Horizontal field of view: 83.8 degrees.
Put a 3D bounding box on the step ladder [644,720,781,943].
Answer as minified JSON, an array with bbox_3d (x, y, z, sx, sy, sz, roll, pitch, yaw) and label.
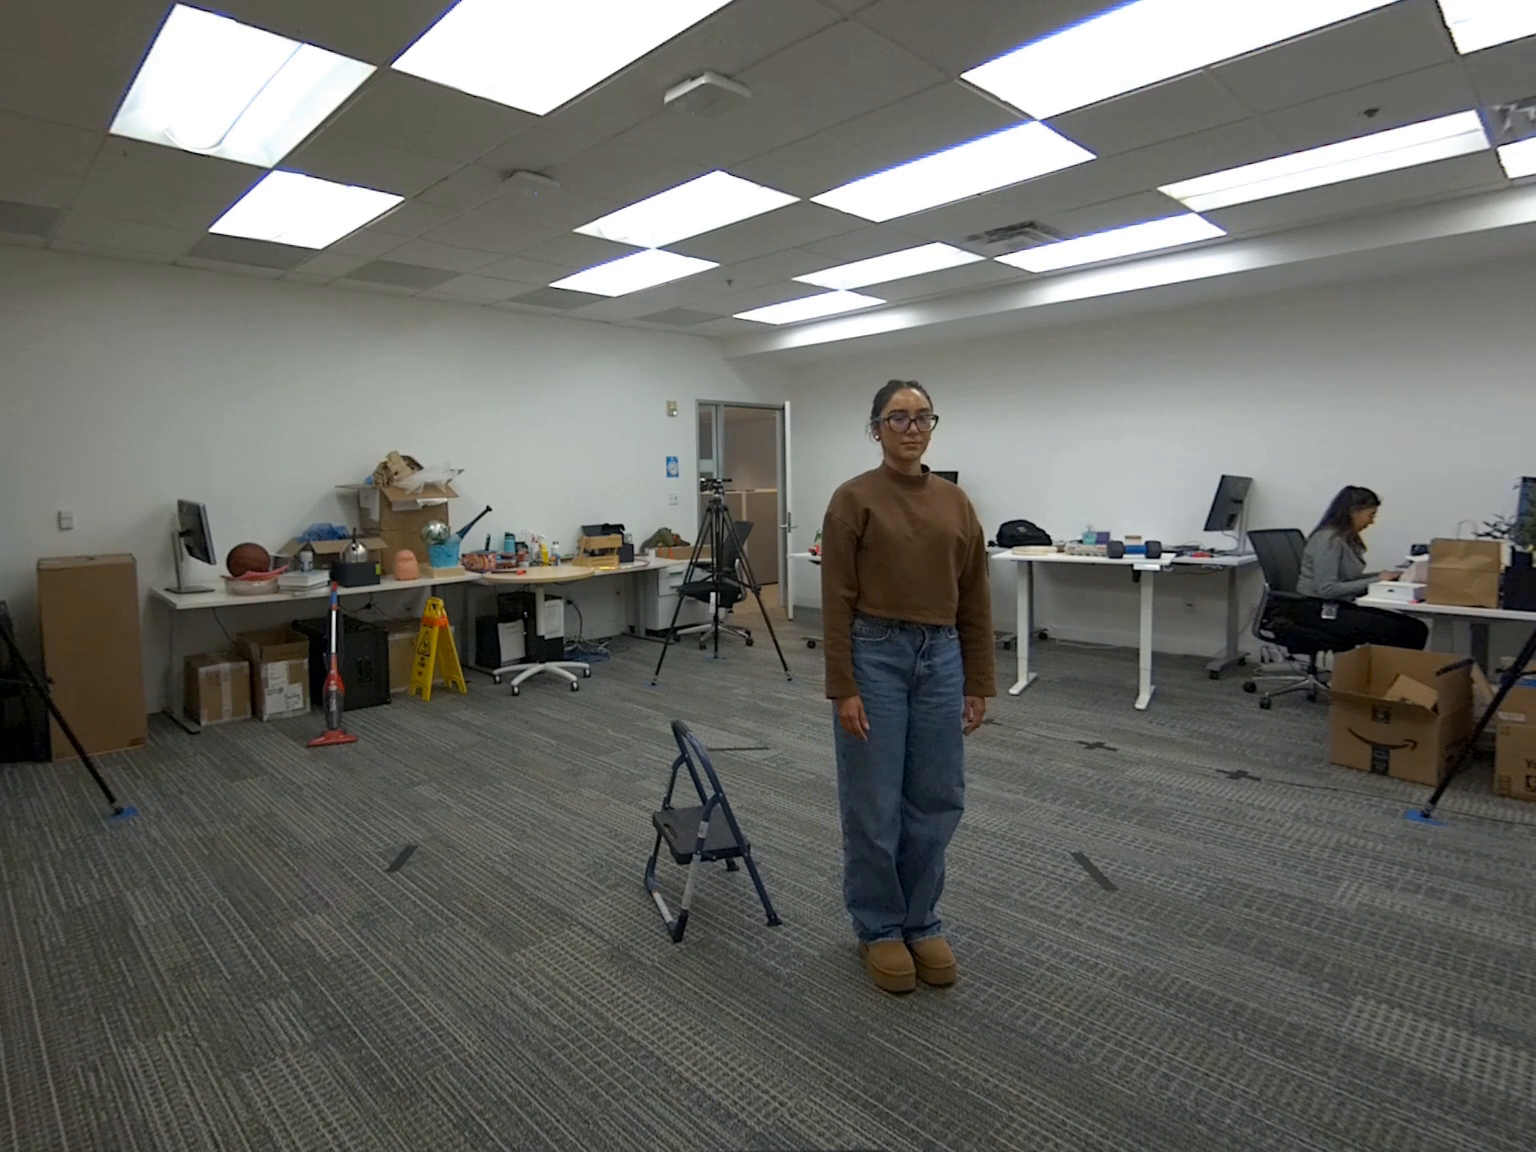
[{"bbox_3d":[-0.196,0.780,2.805,0.343,0.604,0.440,-2,5,-21],"label":"step ladder"}]
